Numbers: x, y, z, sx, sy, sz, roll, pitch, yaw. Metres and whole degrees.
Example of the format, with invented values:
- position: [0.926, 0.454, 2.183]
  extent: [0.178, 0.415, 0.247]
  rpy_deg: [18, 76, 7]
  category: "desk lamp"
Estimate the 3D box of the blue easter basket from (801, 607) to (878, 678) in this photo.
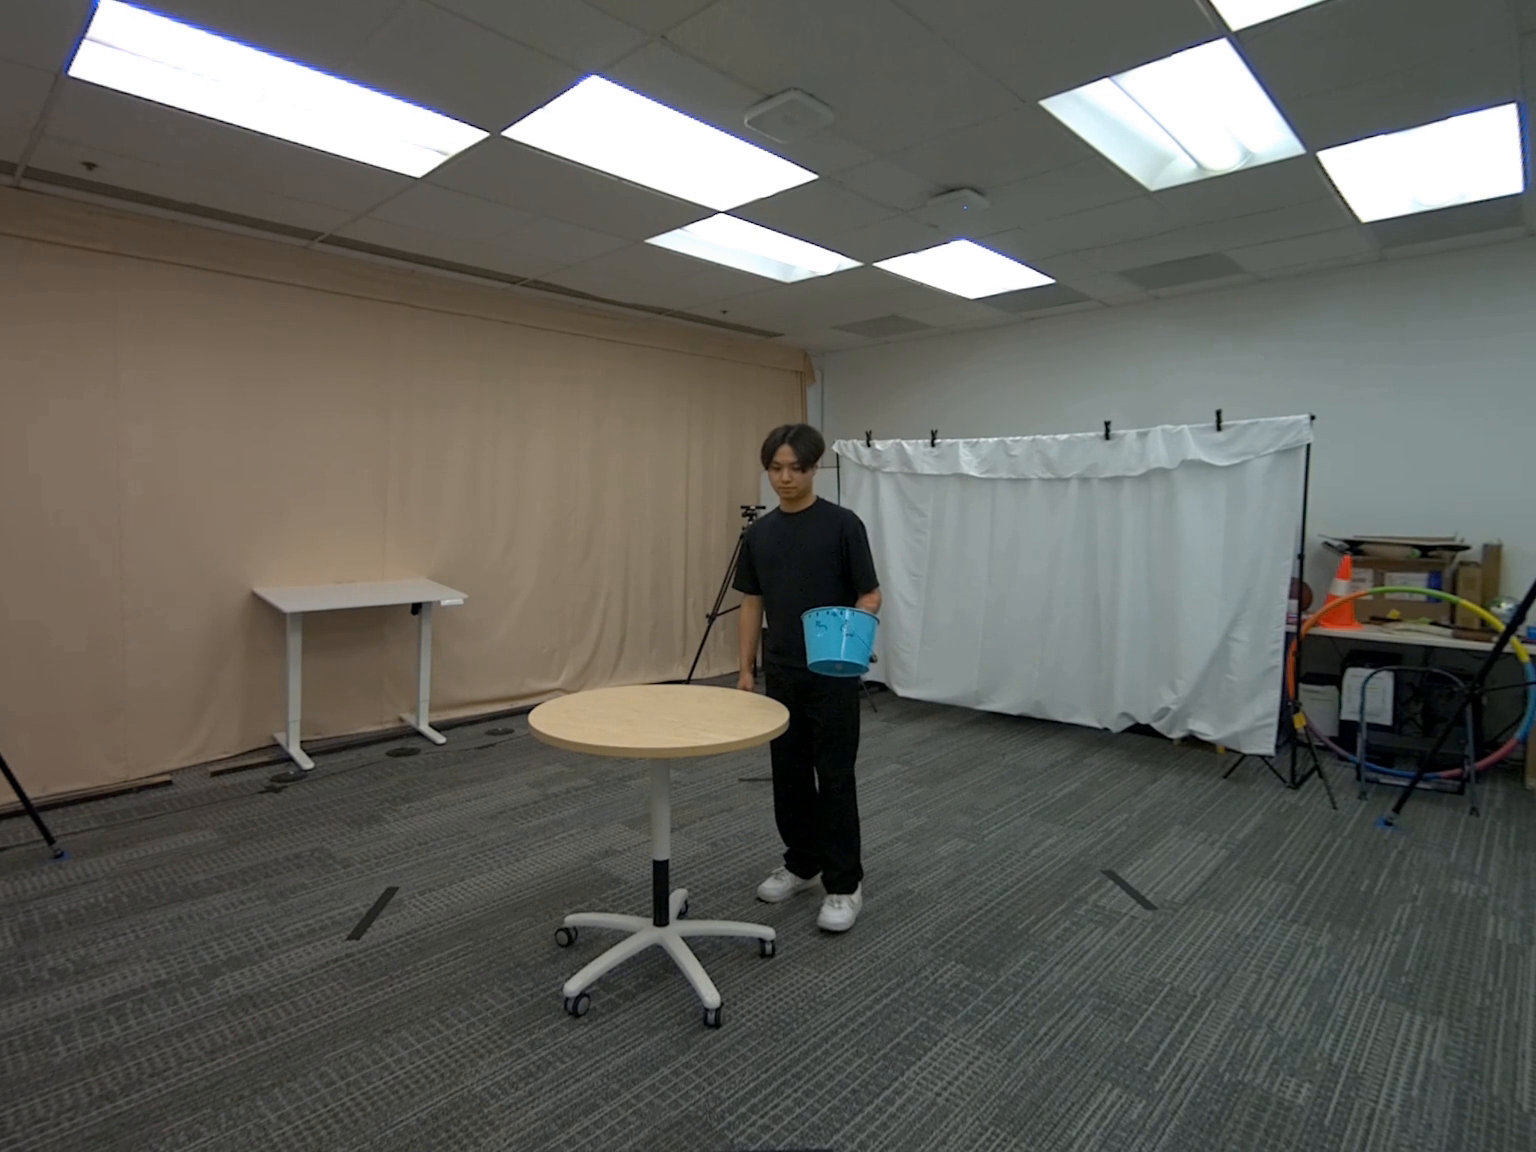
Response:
- position: [0.215, 0.208, 2.503]
  extent: [0.244, 0.157, 0.241]
  rpy_deg: [8, -21, 1]
  category: "blue easter basket"
